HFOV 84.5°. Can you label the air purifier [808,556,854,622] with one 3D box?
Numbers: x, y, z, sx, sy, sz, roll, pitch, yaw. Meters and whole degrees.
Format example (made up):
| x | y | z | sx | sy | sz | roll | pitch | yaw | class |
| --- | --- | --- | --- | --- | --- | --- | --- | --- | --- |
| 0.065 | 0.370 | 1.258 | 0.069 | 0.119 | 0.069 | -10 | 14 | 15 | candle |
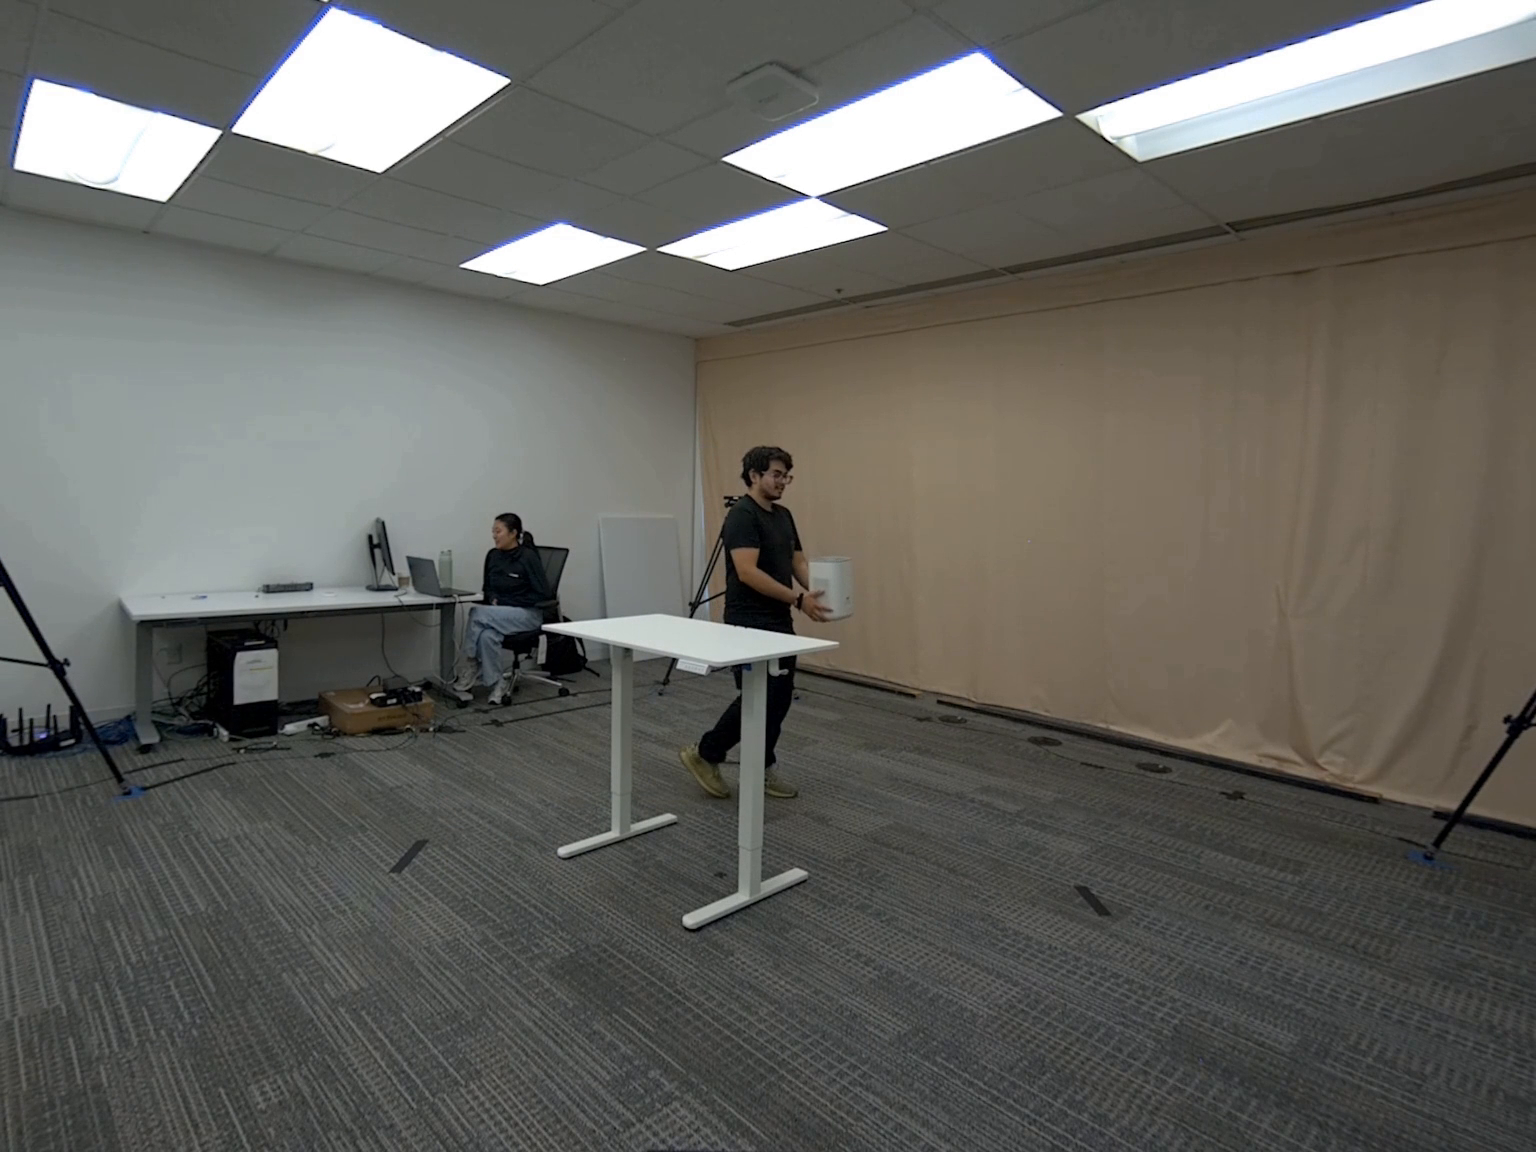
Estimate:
| x | y | z | sx | sy | sz | roll | pitch | yaw | class |
| --- | --- | --- | --- | --- | --- | --- | --- | --- | --- |
| 0.271 | 0.055 | 3.736 | 0.175 | 0.264 | 0.168 | 3 | 7 | 34 | air purifier |
